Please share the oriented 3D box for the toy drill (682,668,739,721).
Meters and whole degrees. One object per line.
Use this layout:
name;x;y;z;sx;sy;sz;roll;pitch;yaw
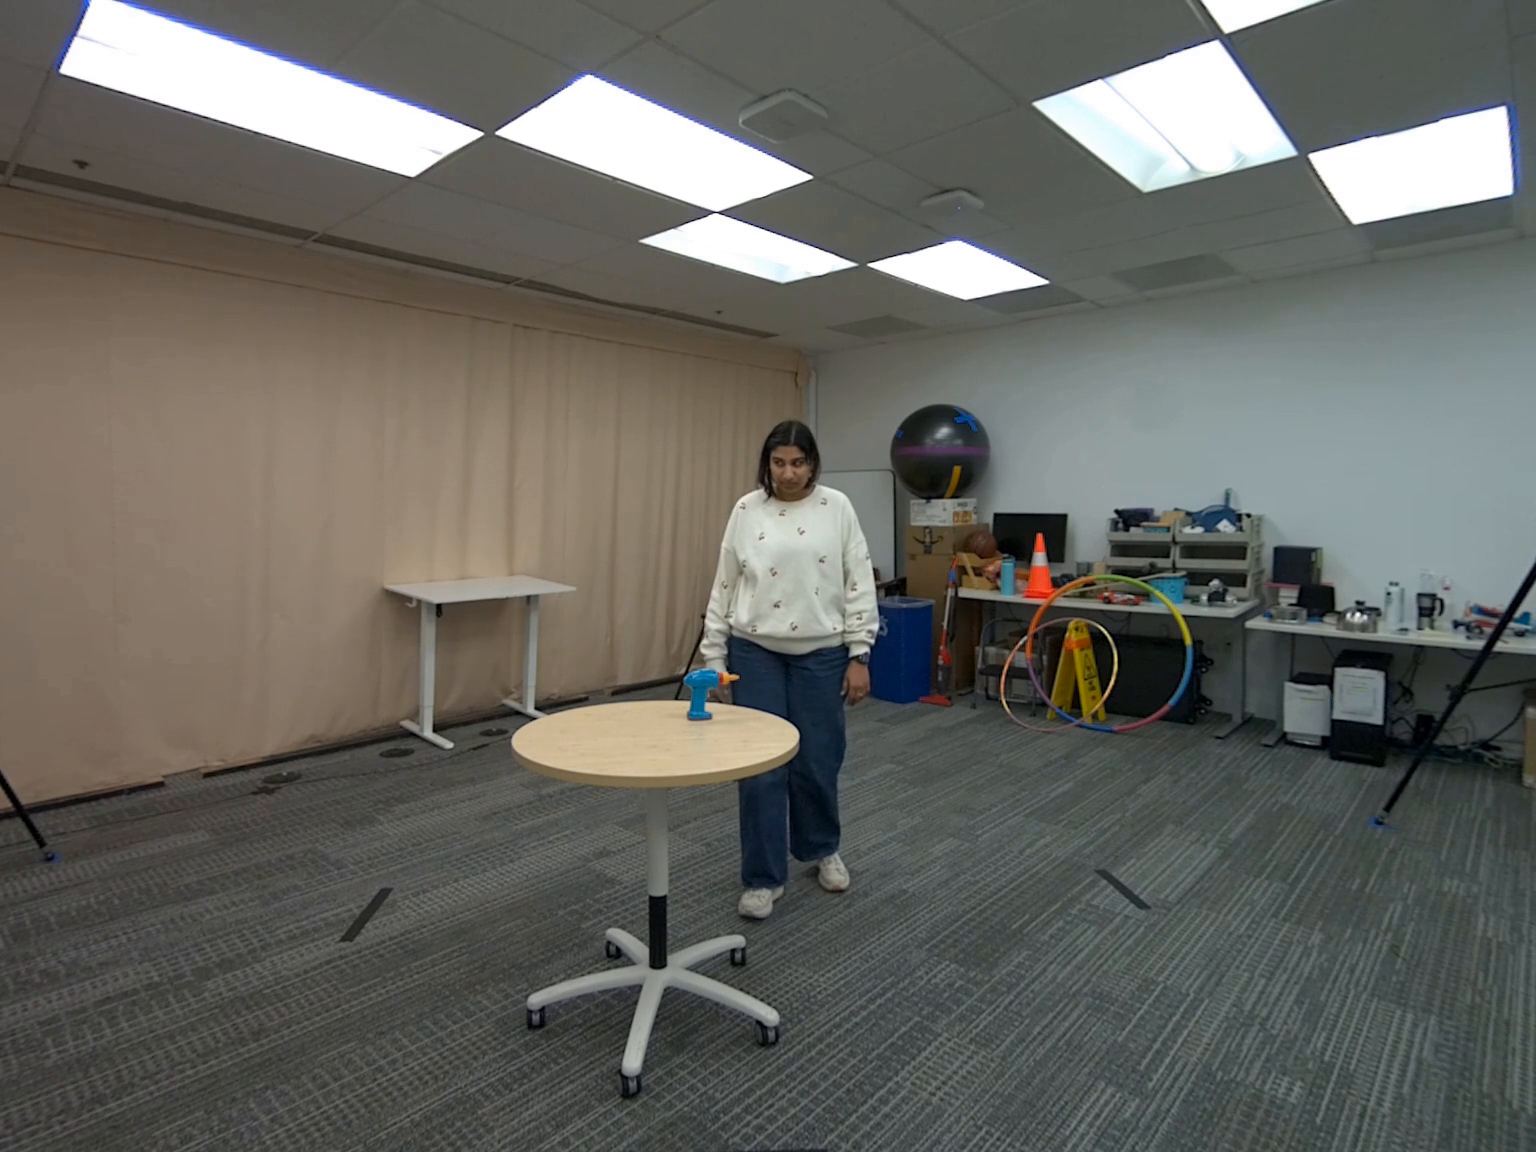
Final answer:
toy drill;-0.158;0.336;2.430;0.166;0.146;0.062;-1;2;-23
